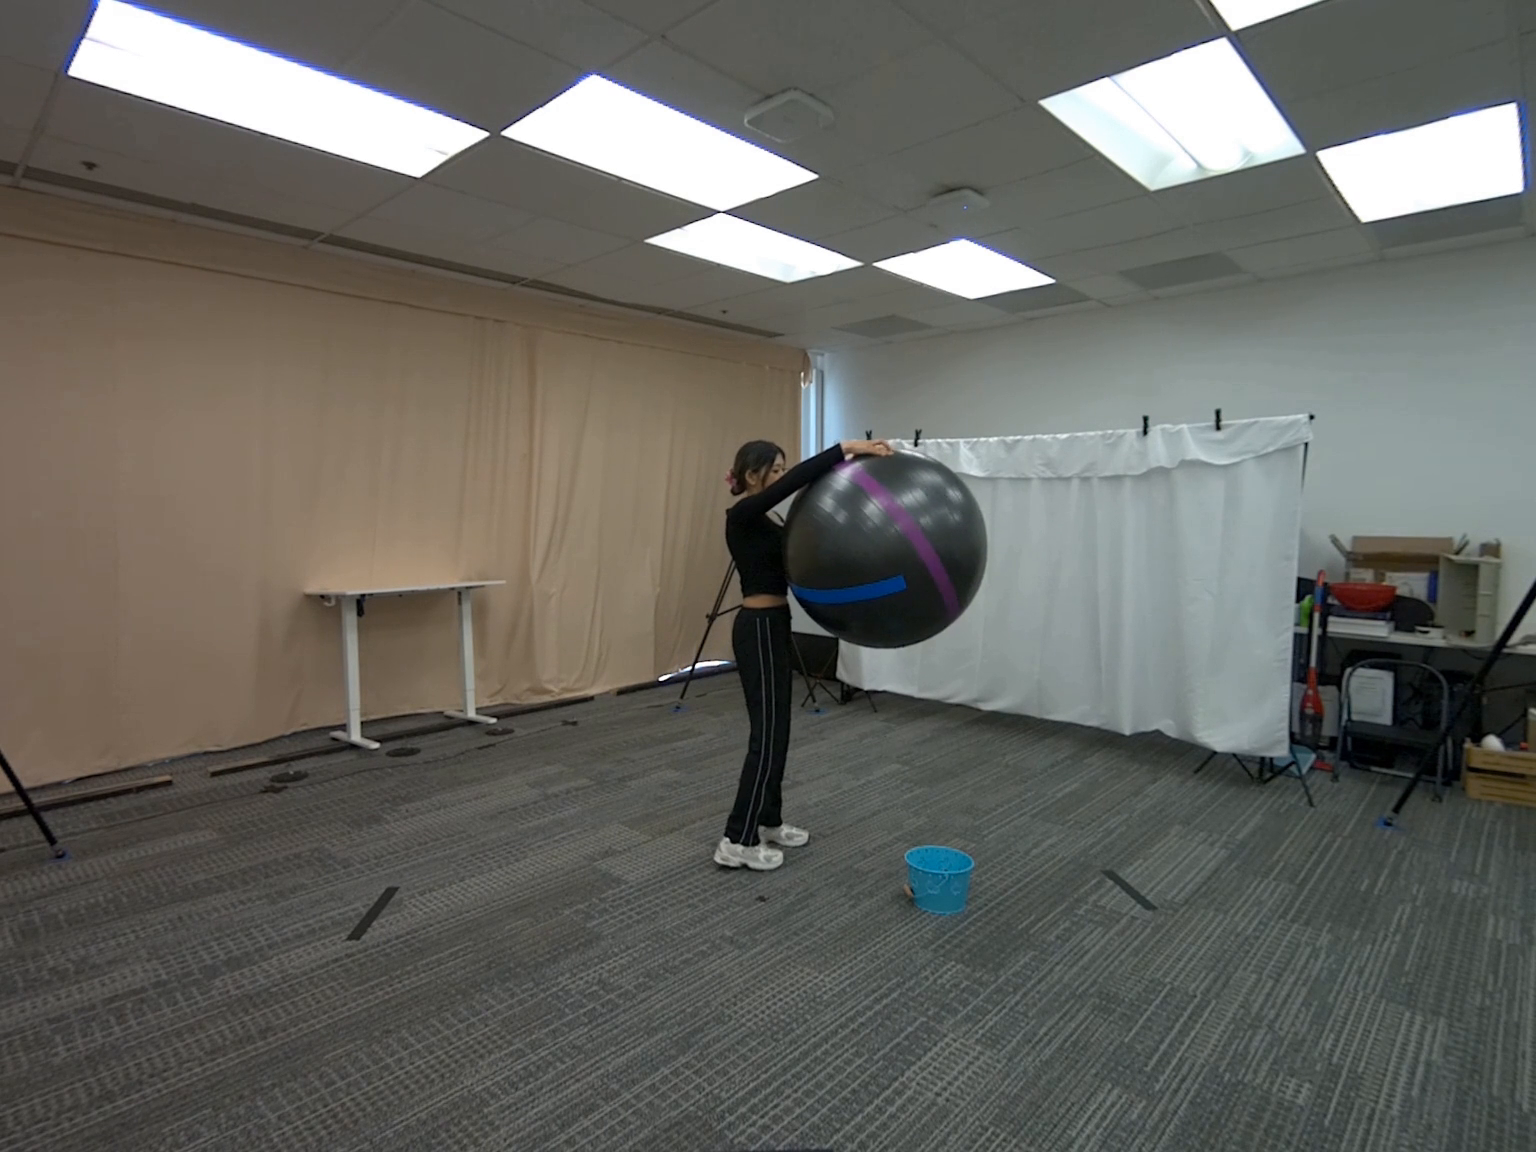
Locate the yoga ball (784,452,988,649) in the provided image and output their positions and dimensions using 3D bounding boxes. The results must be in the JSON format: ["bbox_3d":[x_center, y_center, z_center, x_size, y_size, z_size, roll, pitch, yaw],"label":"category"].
[{"bbox_3d":[0.442,-0.100,3.177,0.757,0.756,0.760,0,4,-2],"label":"yoga ball"}]
